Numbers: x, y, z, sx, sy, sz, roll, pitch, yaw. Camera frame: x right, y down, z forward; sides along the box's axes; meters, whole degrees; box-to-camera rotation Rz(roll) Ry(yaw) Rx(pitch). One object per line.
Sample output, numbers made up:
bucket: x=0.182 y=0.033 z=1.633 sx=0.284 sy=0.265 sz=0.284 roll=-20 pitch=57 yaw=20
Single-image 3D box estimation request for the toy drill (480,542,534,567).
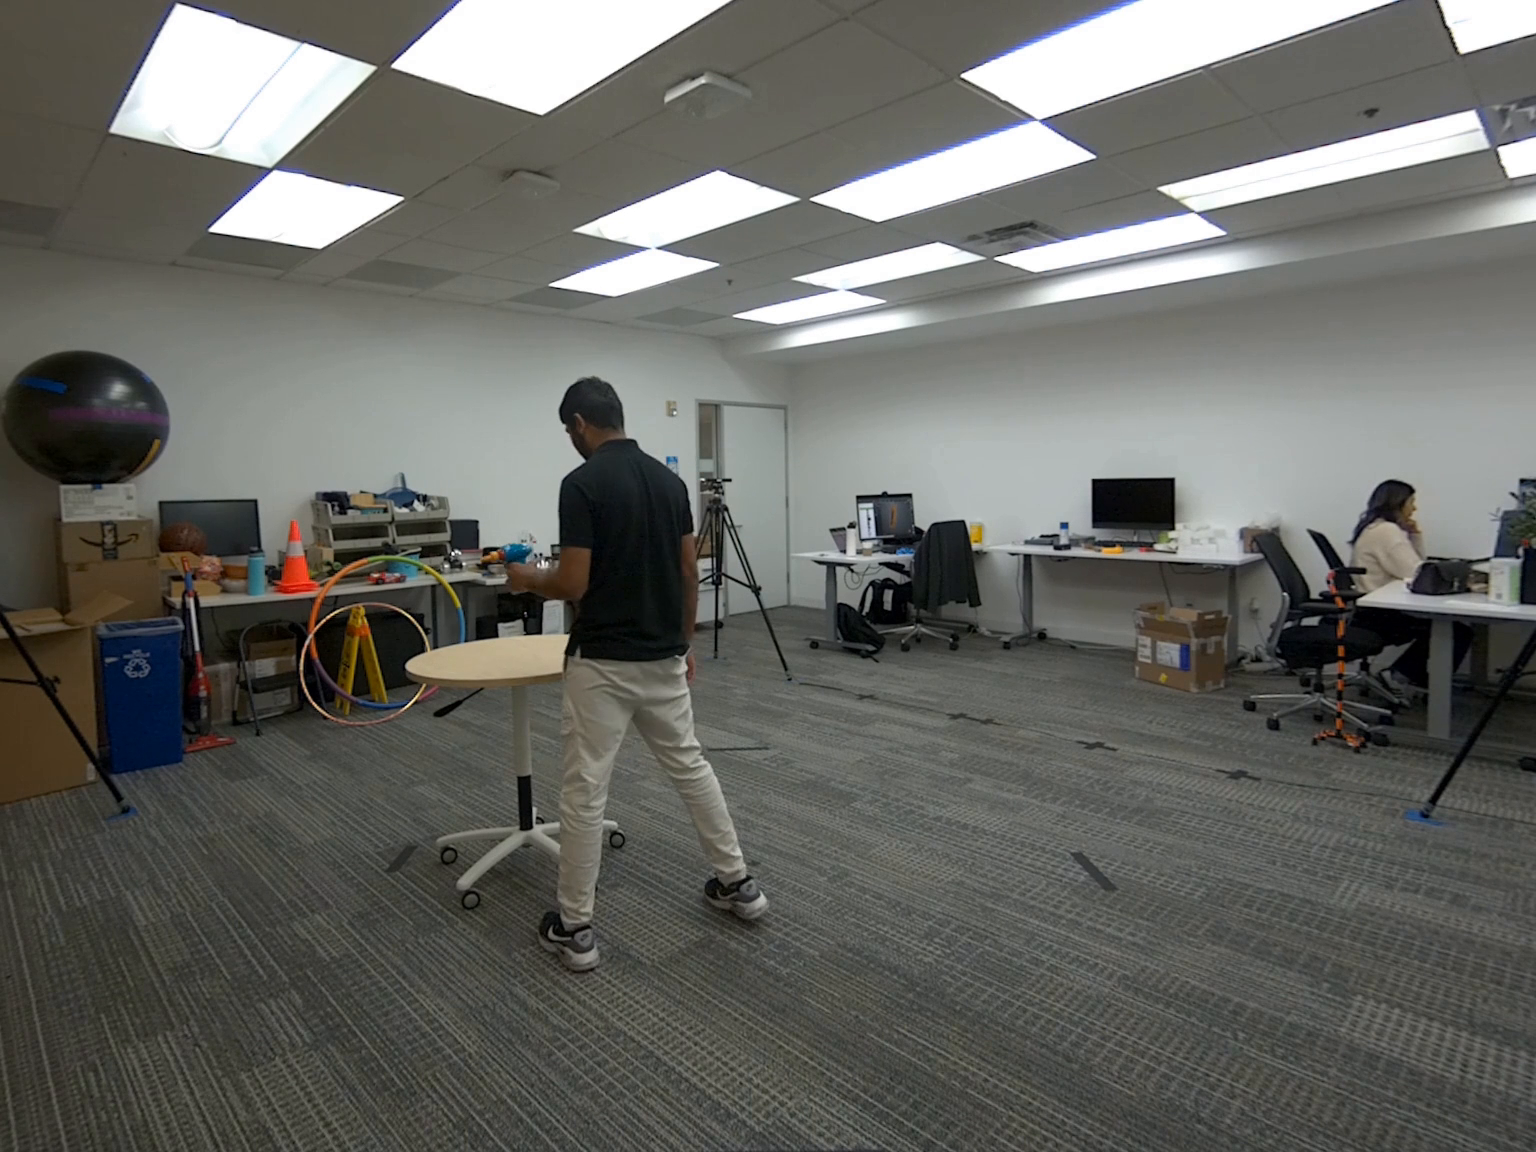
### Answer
toy drill: x=-0.804 y=-0.033 z=2.687 sx=0.166 sy=0.146 sz=0.062 roll=-13 pitch=0 yaw=-32
